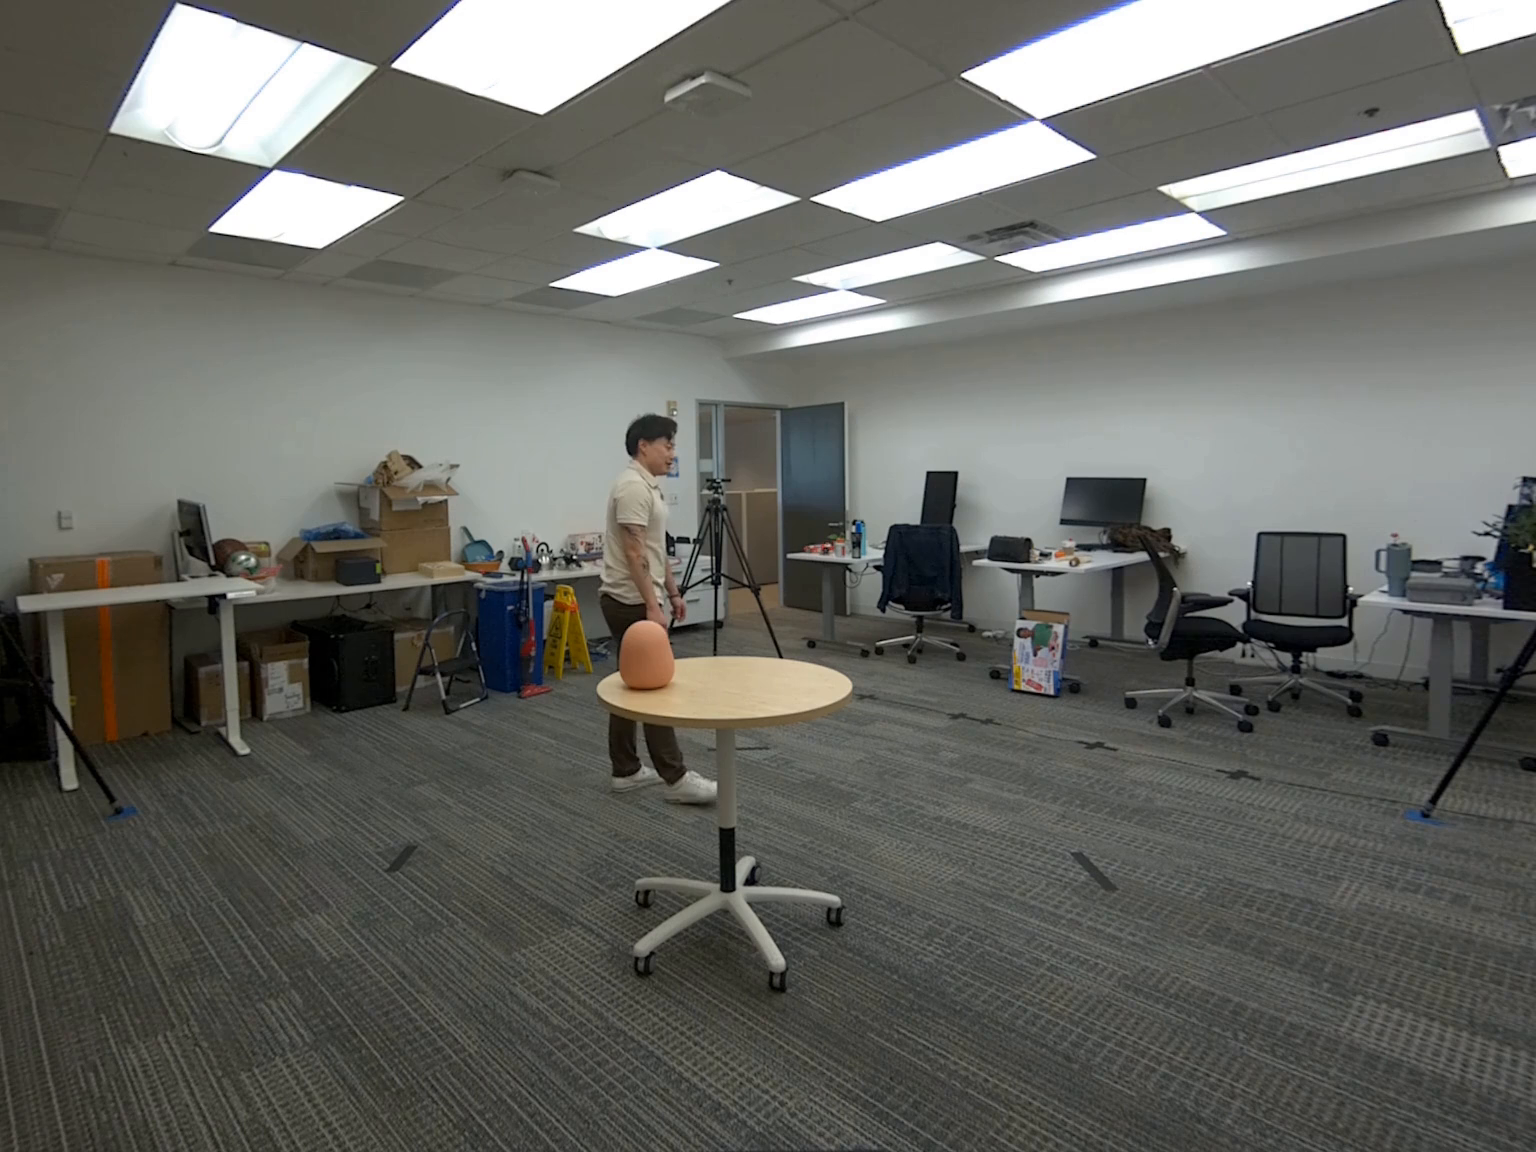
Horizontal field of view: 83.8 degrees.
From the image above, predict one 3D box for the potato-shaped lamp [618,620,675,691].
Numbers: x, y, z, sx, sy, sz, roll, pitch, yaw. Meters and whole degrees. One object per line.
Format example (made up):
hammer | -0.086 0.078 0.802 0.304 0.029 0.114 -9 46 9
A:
potato-shaped lamp | -0.360 0.232 2.546 0.166 0.198 0.170 -5 3 9
